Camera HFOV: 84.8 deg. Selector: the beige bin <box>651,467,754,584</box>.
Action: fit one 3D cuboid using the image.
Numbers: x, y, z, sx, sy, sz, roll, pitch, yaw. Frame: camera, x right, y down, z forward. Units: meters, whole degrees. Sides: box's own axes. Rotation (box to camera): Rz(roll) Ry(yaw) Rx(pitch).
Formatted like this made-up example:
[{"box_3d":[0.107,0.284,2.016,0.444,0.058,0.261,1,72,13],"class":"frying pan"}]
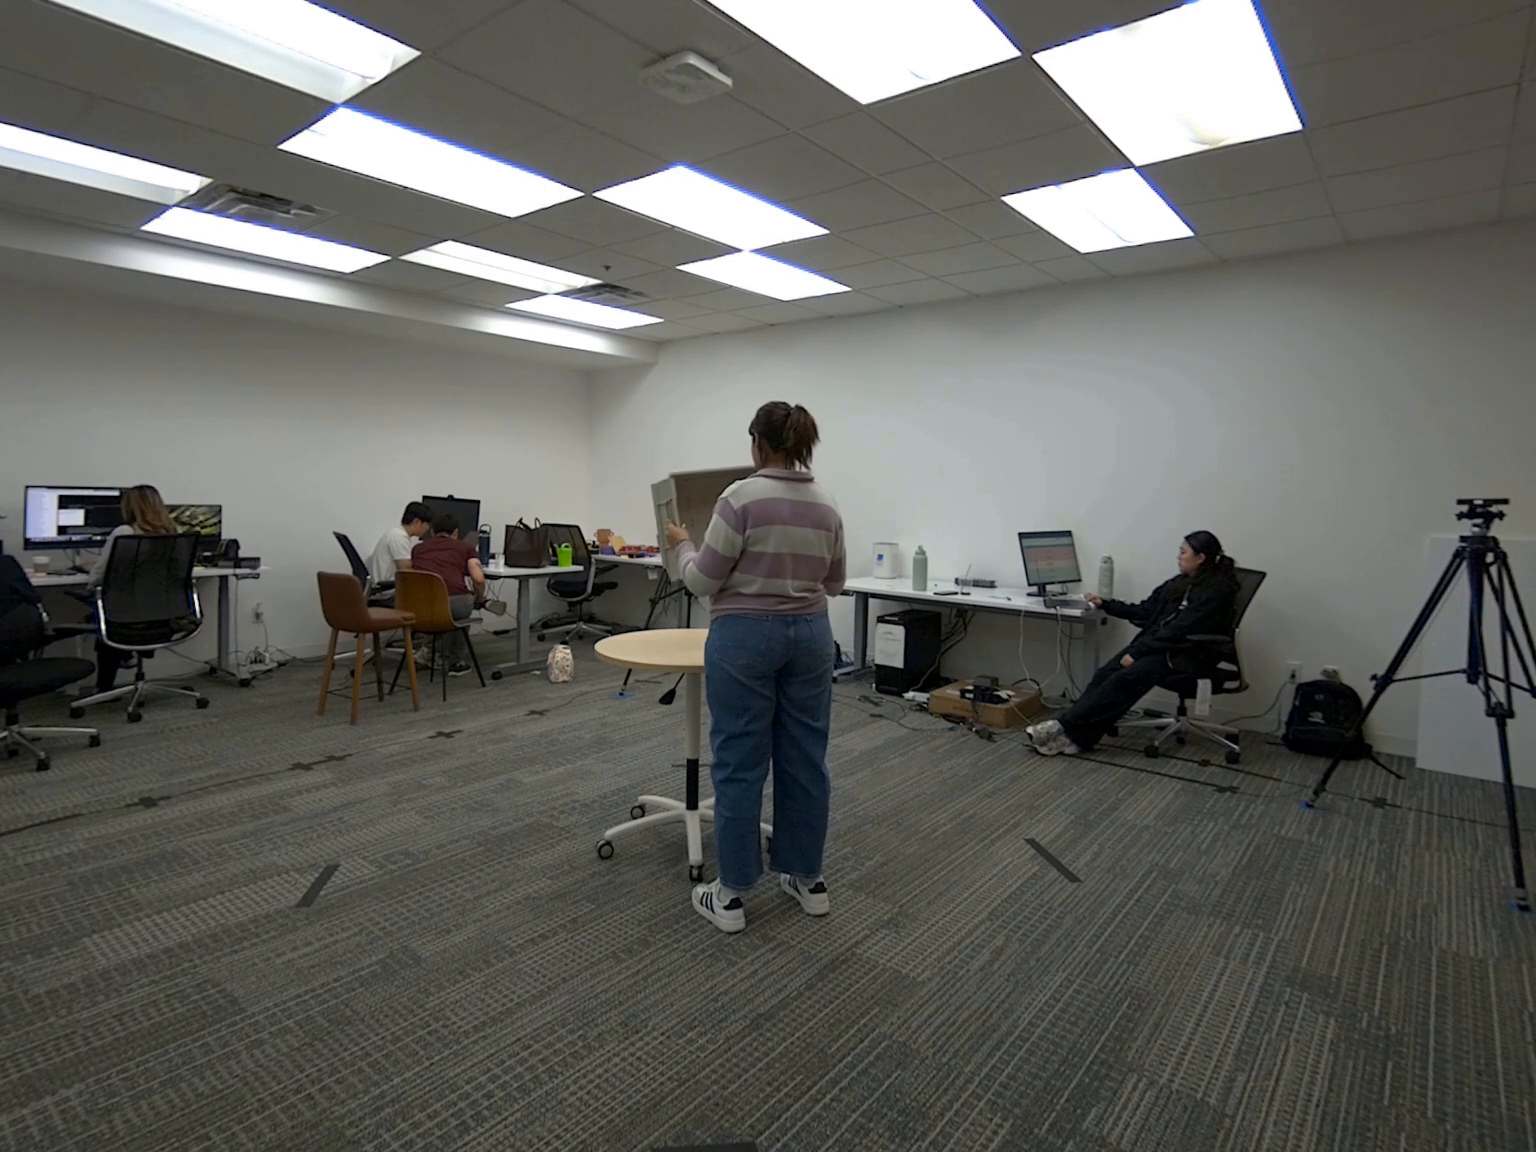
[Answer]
[{"box_3d":[-0.190,-0.195,3.121,0.412,0.378,0.193,-8,-2,-30],"class":"beige bin"}]
